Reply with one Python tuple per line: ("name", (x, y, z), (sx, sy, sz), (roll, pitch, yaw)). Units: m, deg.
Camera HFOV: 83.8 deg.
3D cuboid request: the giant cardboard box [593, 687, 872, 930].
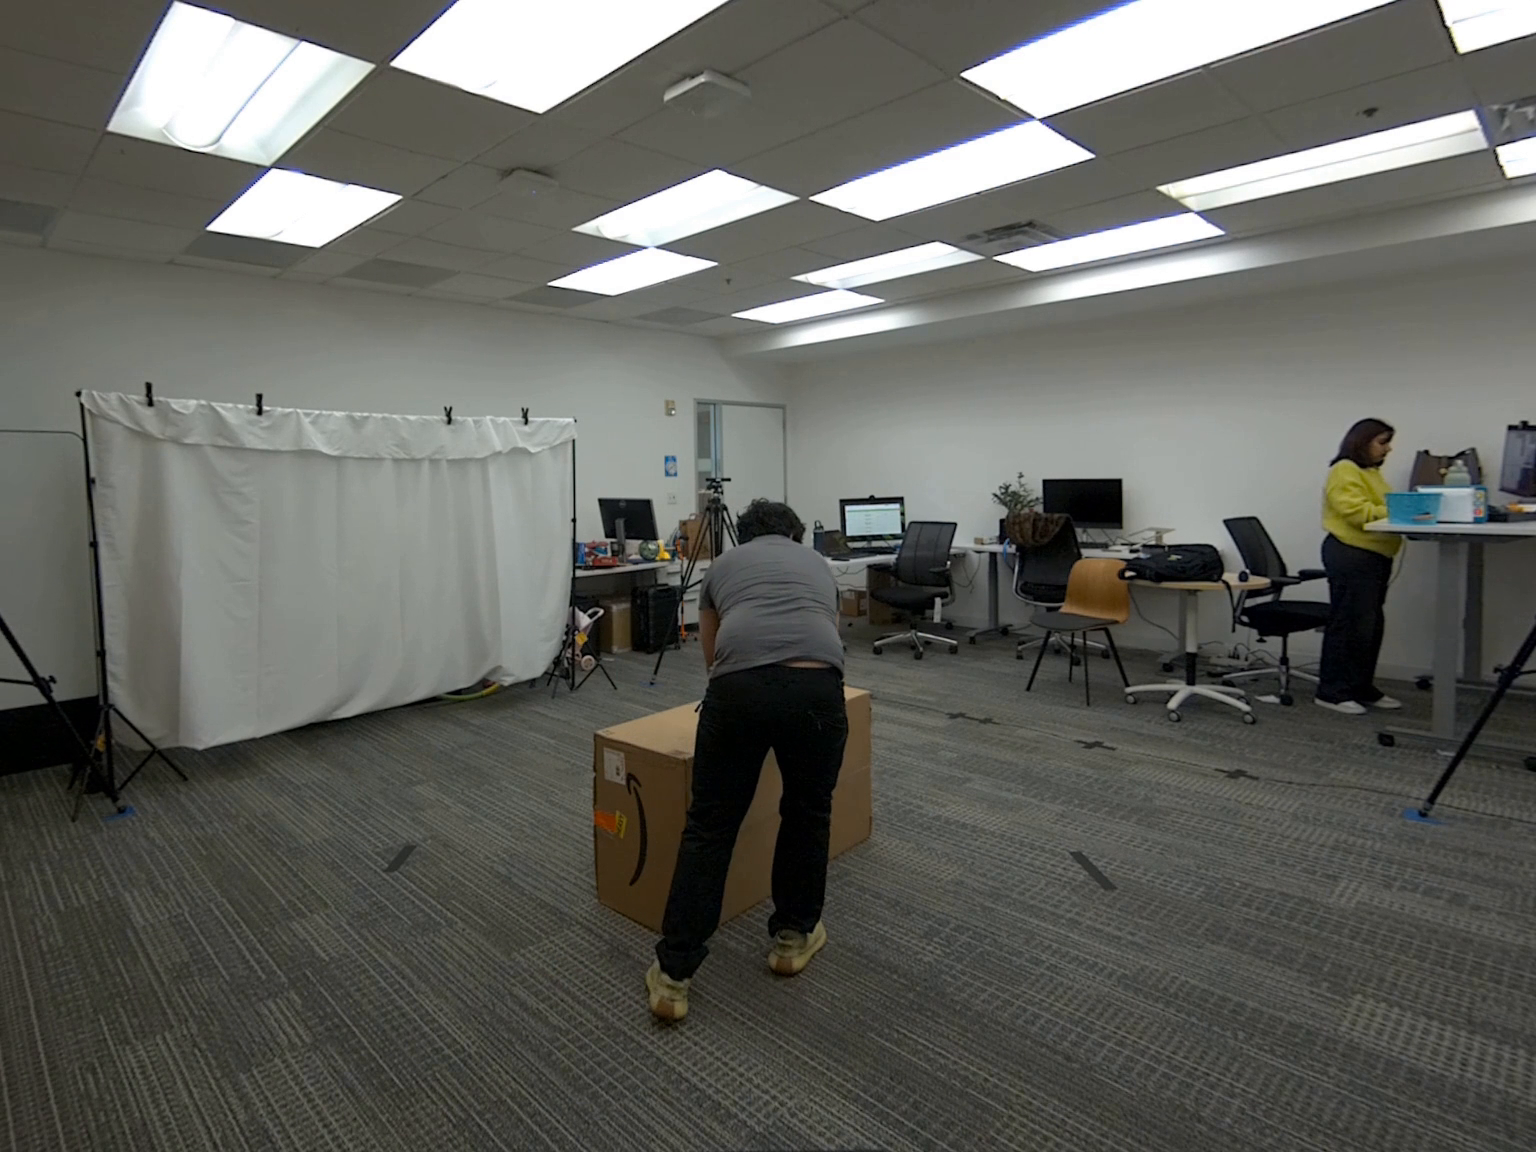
("giant cardboard box", (-0.090, 0.760, 3.062), (0.439, 0.575, 0.999), (3, 7, 40))
